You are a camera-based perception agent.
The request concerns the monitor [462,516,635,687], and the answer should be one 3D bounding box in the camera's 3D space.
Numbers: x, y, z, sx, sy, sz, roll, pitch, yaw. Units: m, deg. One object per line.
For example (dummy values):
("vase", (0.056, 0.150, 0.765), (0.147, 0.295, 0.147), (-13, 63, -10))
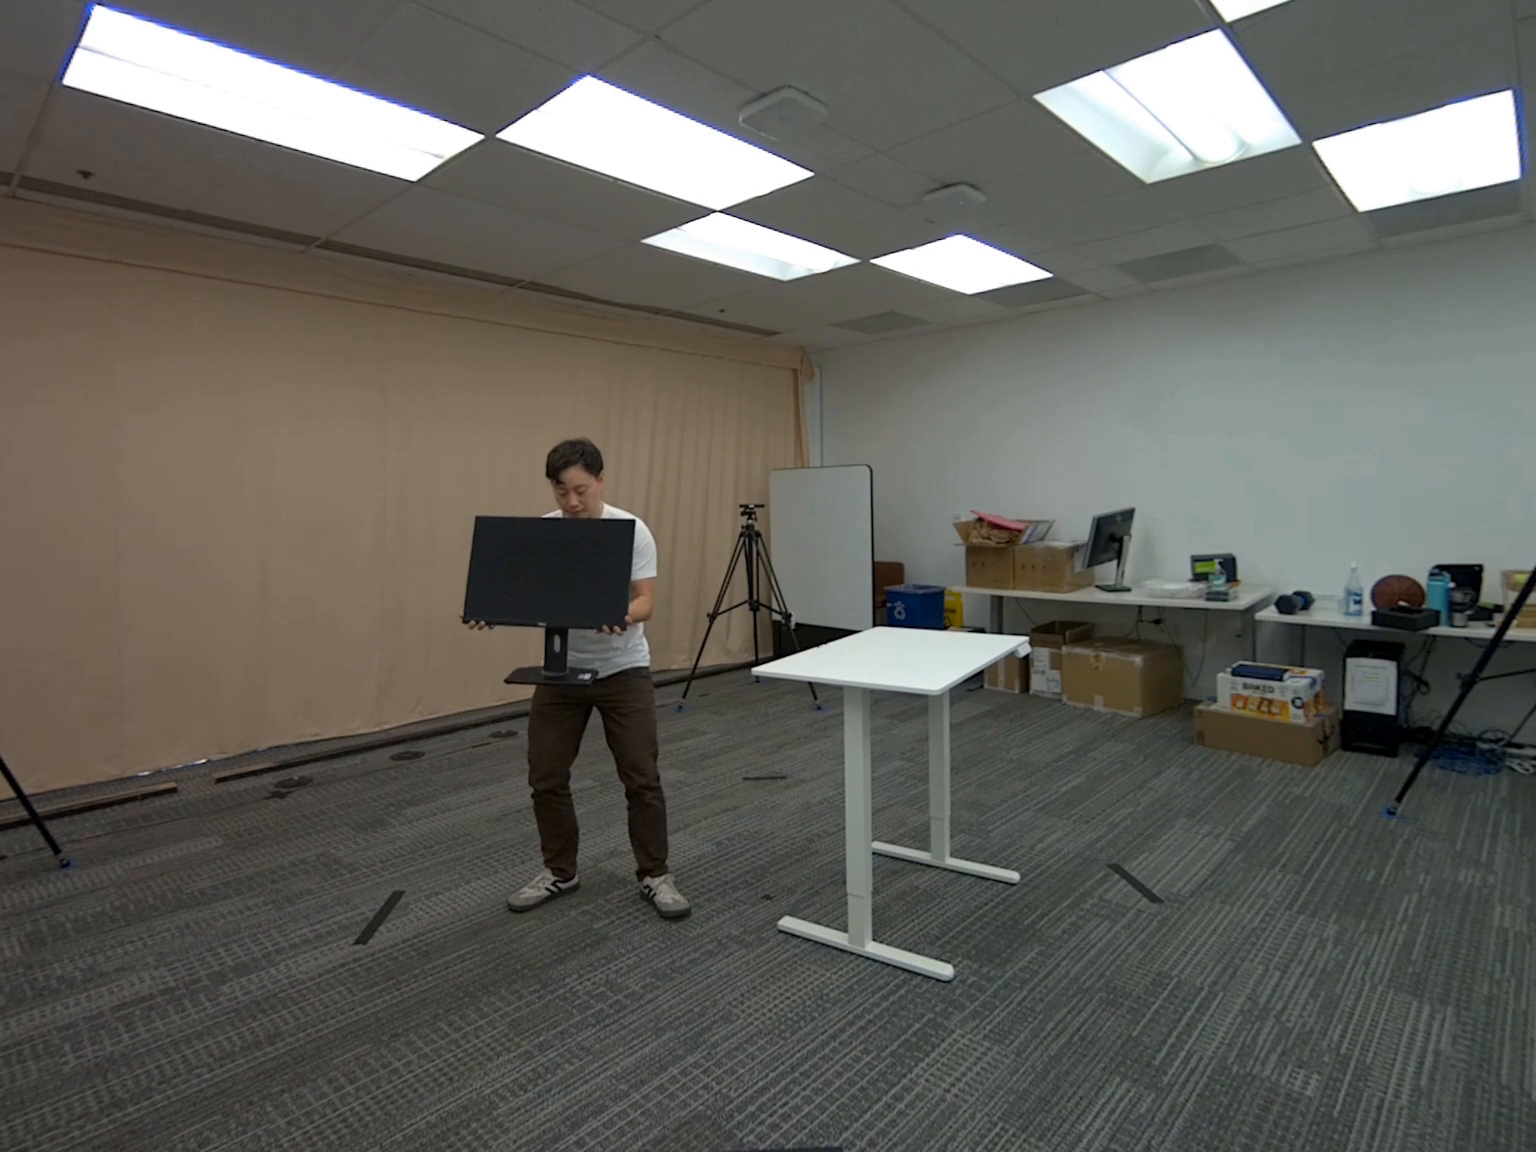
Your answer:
("monitor", (-0.676, 0.081, 2.690), (0.544, 0.521, 0.186), (2, 3, 8))
